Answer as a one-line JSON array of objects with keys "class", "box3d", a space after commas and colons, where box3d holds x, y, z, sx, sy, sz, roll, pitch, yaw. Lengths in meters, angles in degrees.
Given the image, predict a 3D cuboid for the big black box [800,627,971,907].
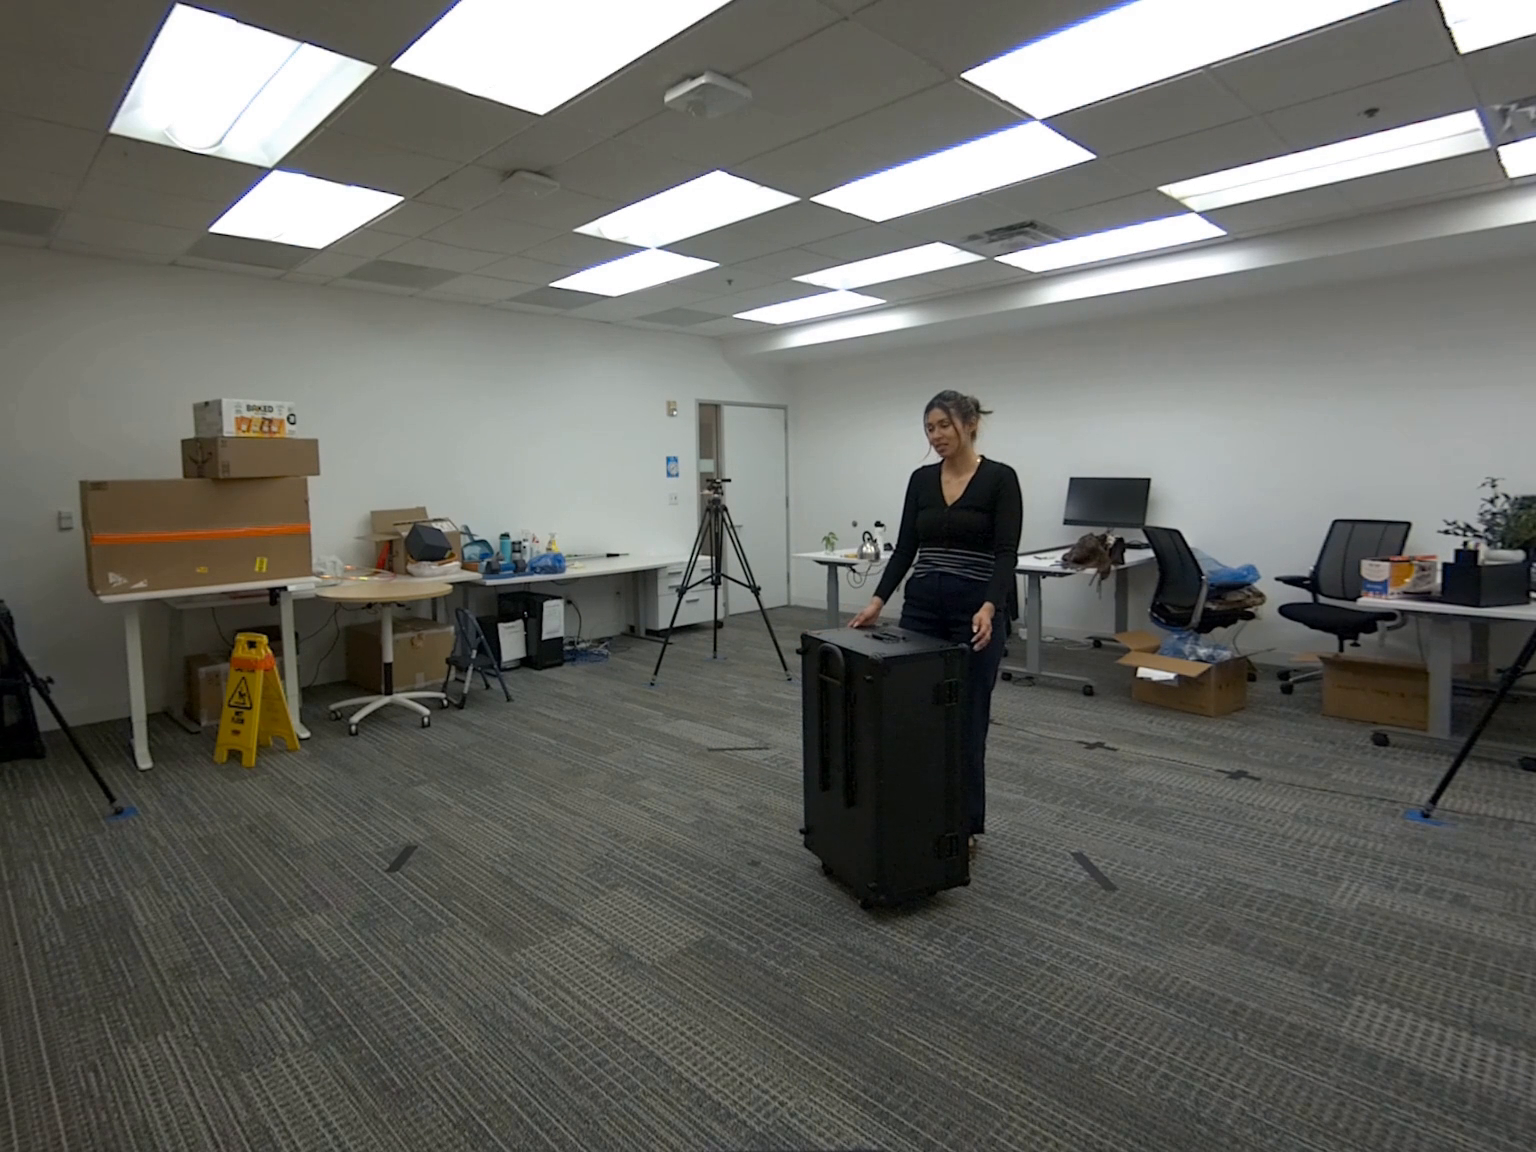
[{"class": "big black box", "box3d": [0.376, 0.636, 2.887, 0.389, 0.858, 0.534, -4, 5, -23]}]
